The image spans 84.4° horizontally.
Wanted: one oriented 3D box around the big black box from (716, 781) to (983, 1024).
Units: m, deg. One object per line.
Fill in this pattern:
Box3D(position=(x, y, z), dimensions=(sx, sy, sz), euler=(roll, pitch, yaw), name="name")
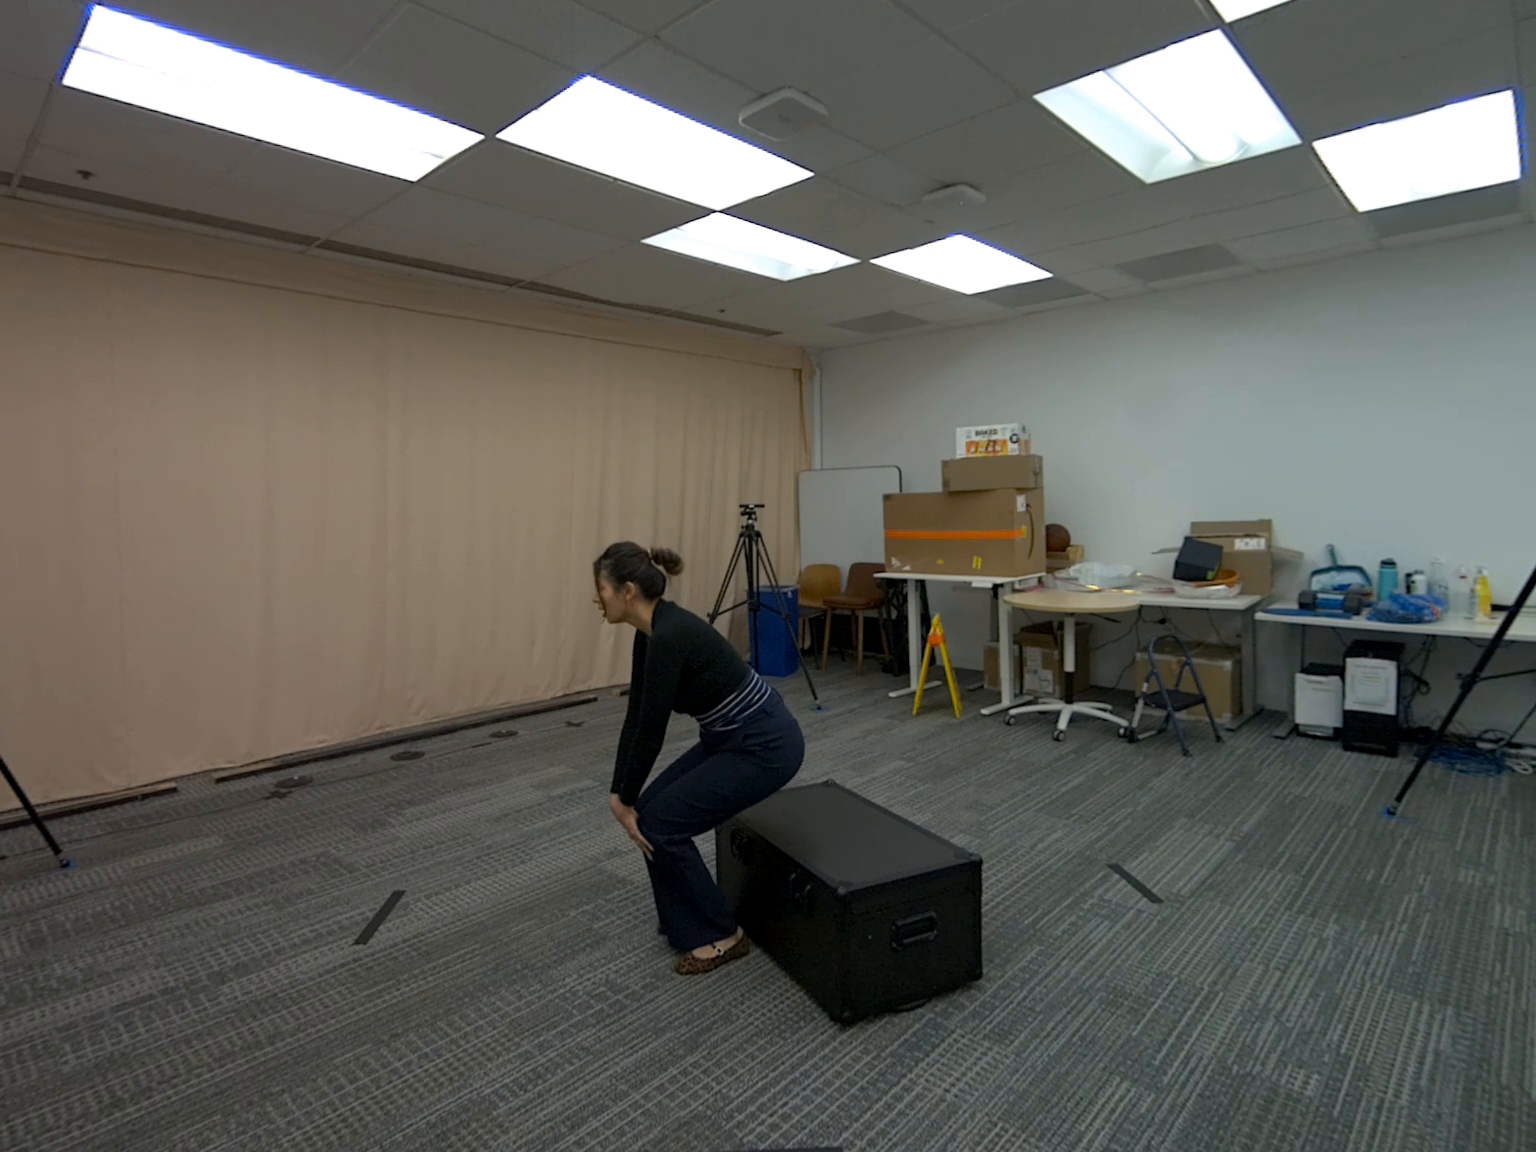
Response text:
Box3D(position=(0.234, 0.975, 2.623), dimensions=(0.508, 0.395, 0.885), euler=(-3, 5, -28), name="big black box")
